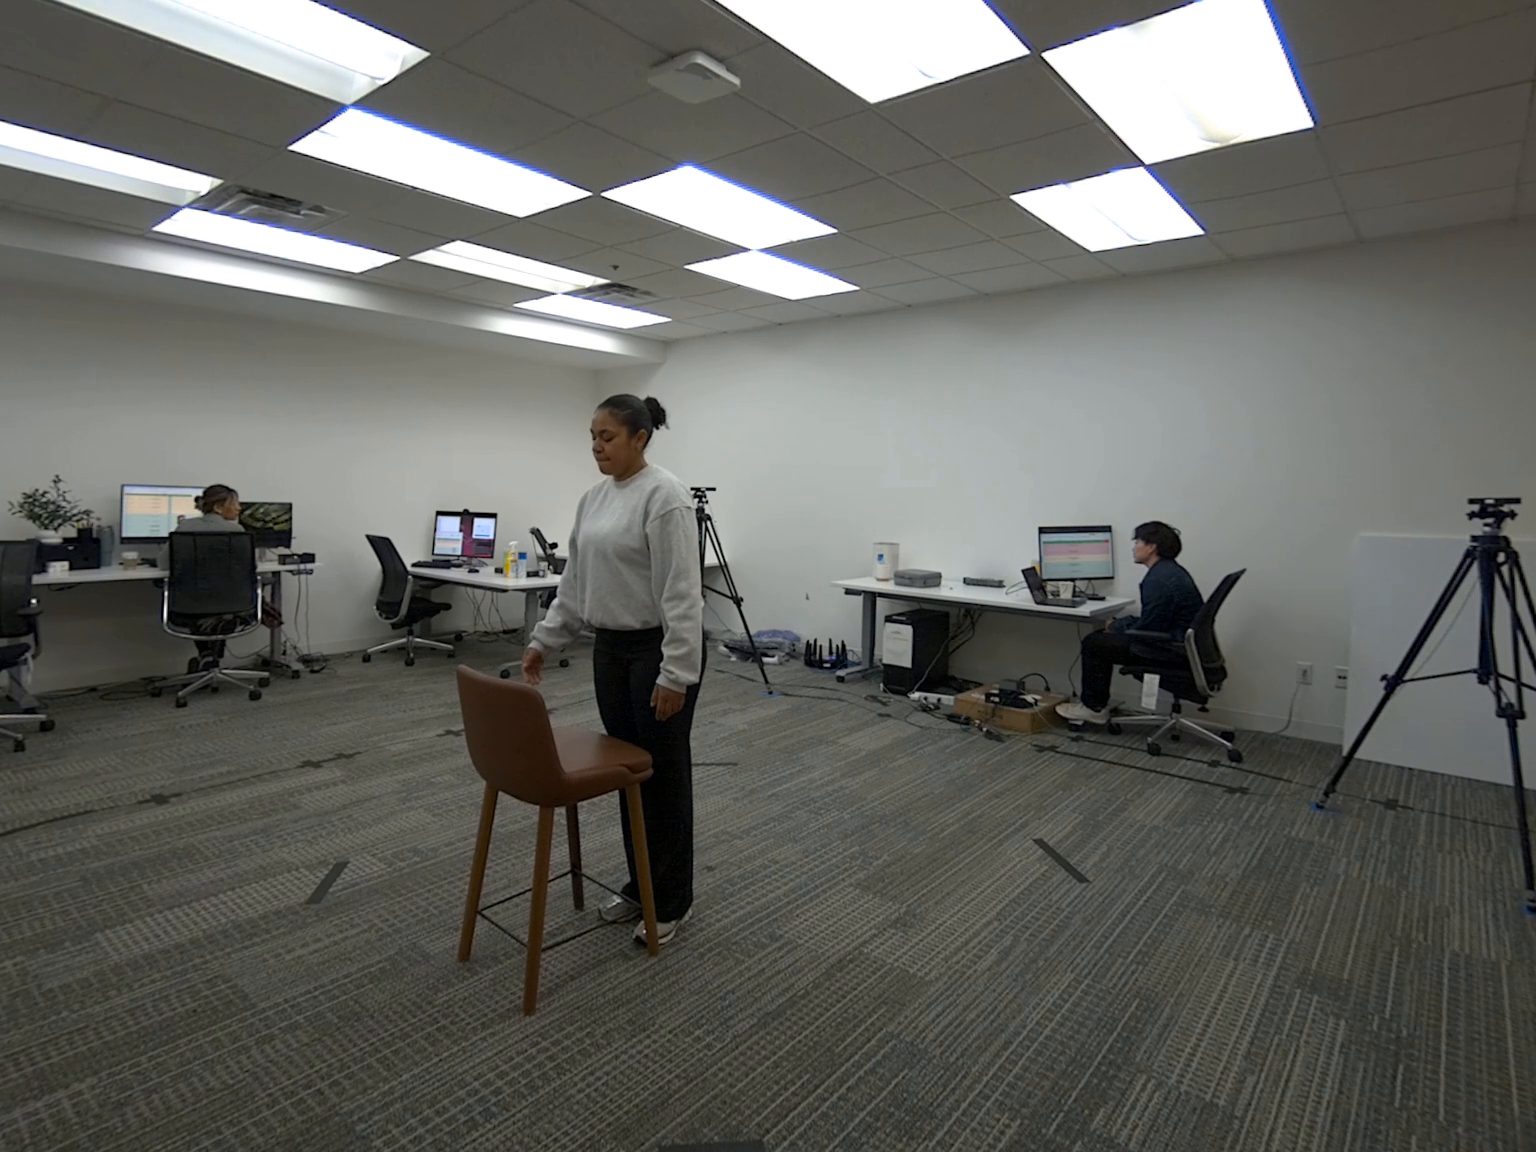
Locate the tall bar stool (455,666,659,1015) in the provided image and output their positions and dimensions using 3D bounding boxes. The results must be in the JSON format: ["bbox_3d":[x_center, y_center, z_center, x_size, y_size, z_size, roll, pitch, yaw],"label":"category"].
[{"bbox_3d":[-0.630,0.682,2.480,0.472,0.886,0.454,3,5,43],"label":"tall bar stool"}]
